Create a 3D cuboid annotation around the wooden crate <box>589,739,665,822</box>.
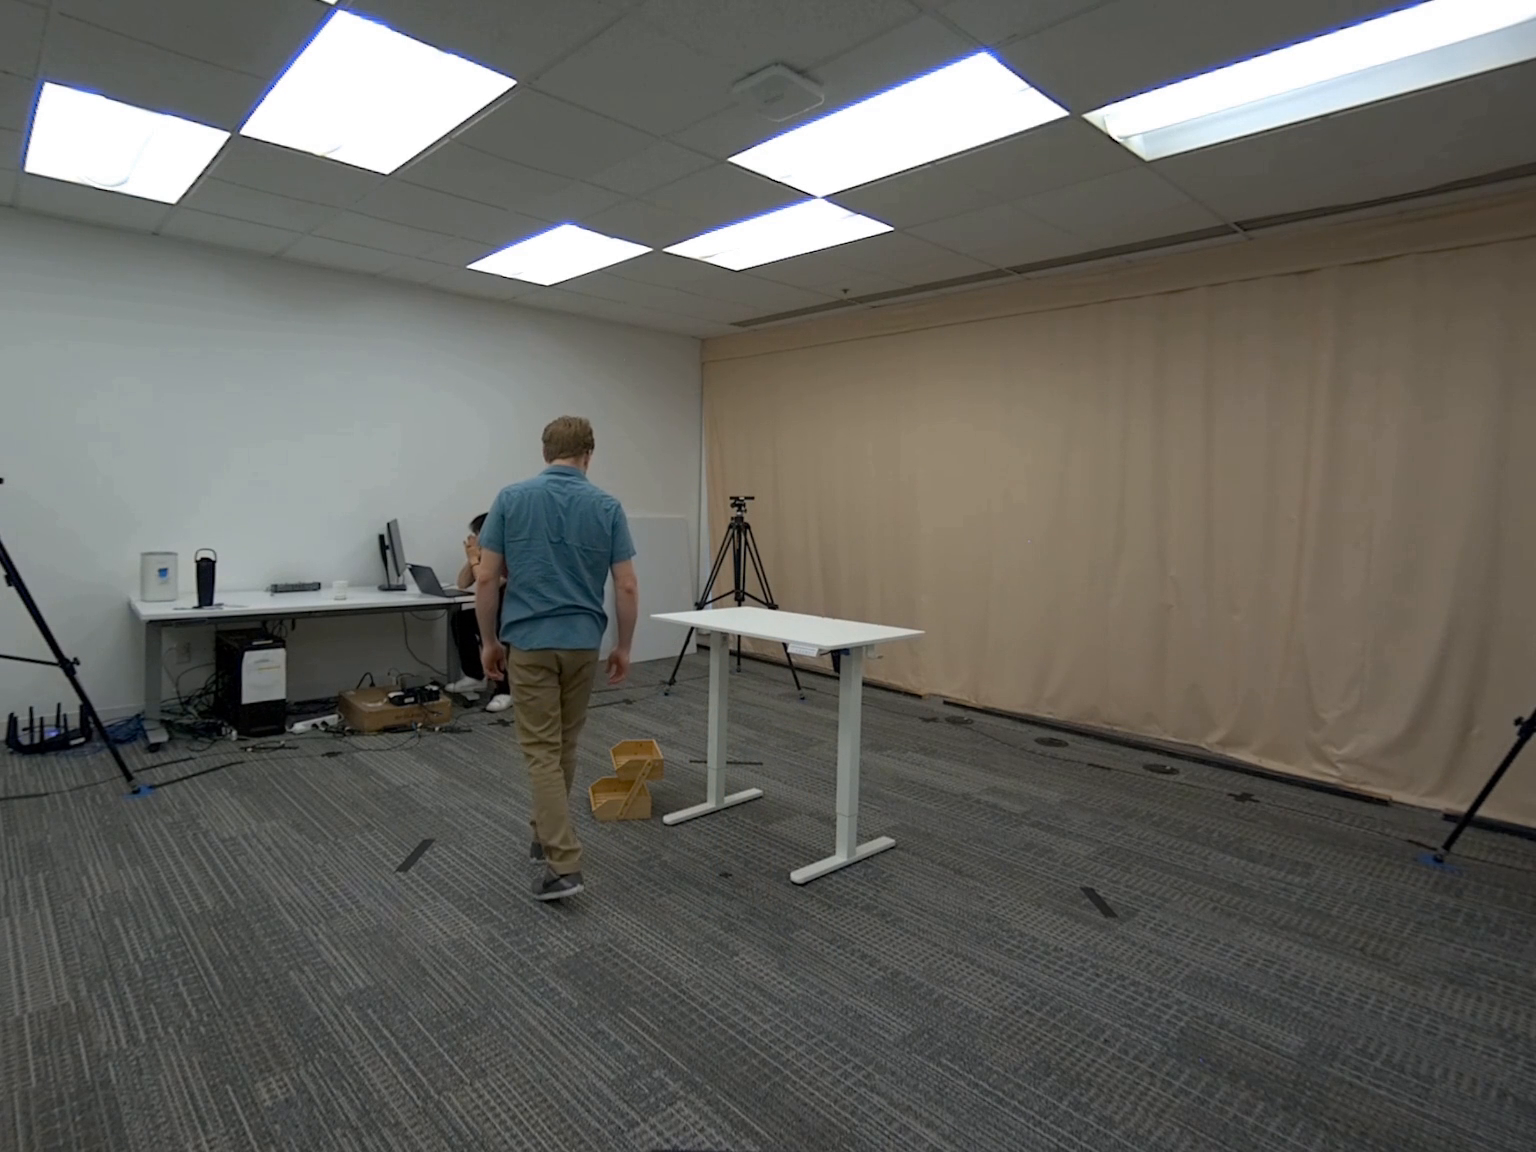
[{"bbox_3d":[-0.653,0.899,3.763,0.298,0.272,0.329,1,4,-16],"label":"wooden crate"}]
